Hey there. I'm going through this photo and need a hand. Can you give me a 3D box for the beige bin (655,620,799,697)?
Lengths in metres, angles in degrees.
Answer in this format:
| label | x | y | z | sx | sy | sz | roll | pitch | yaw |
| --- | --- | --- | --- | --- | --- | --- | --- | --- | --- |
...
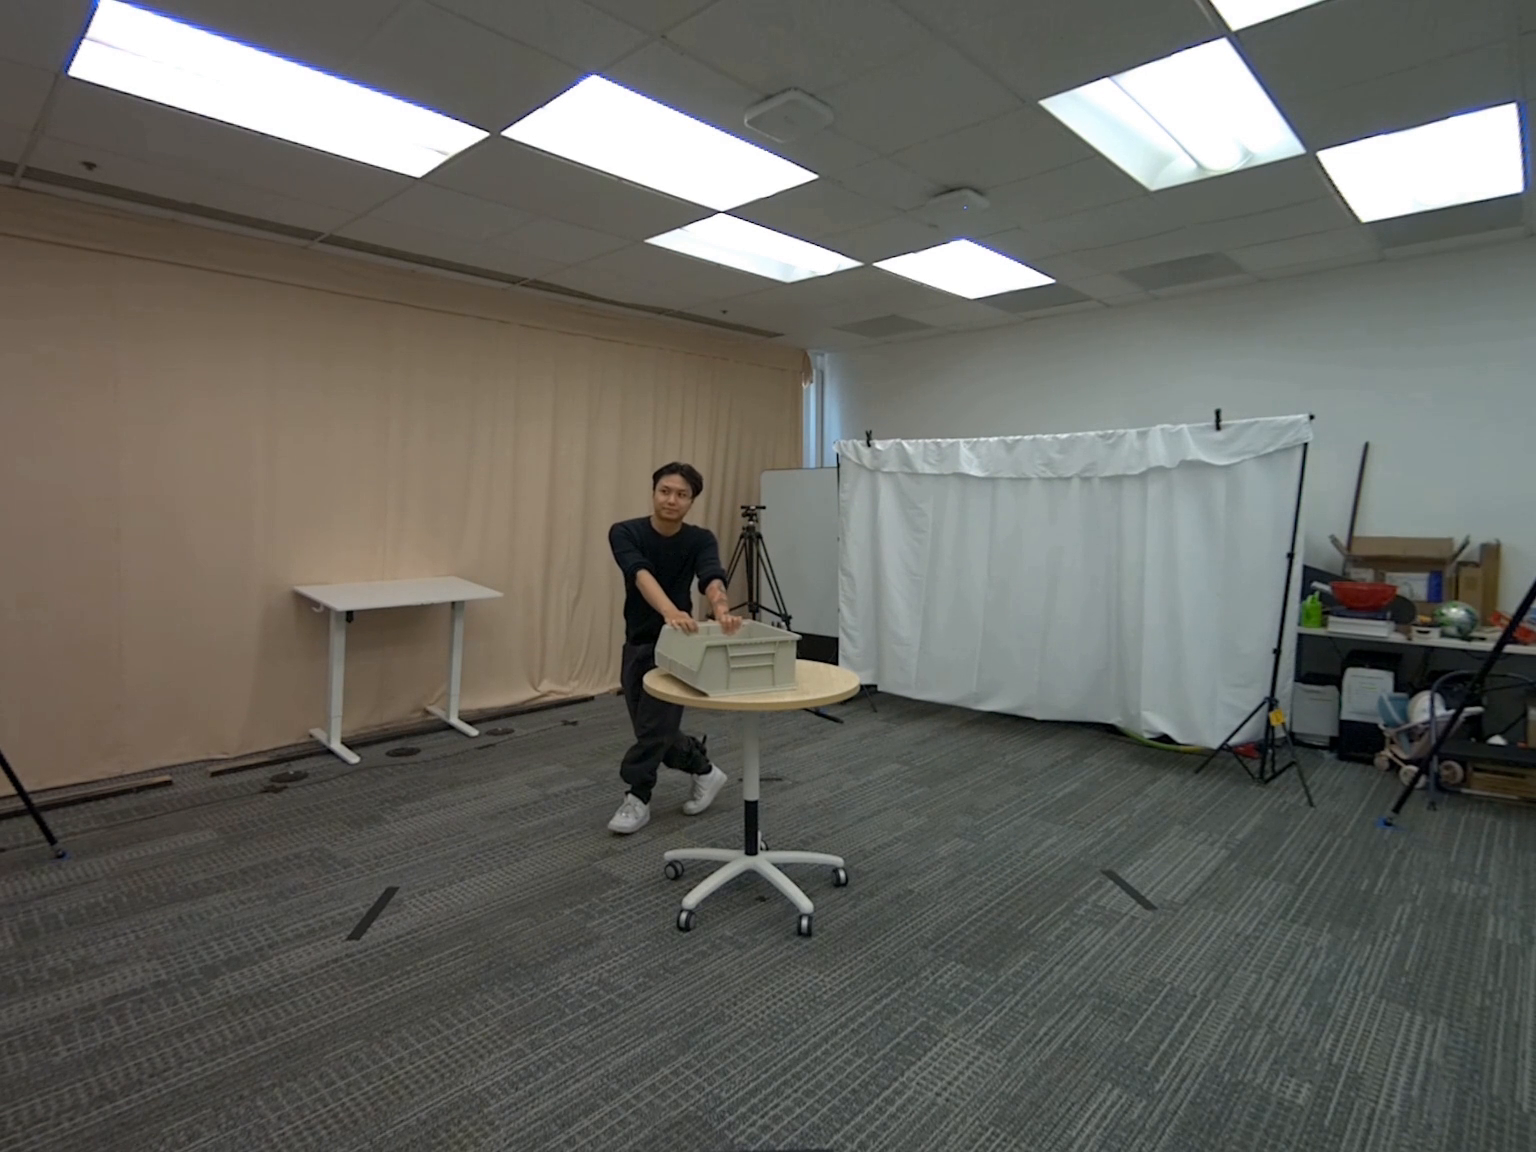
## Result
| label | x | y | z | sx | sy | sz | roll | pitch | yaw |
| --- | --- | --- | --- | --- | --- | --- | --- | --- | --- |
| beige bin | -0.145 | 0.277 | 2.916 | 0.369 | 0.188 | 0.433 | 0 | 4 | -23 |
